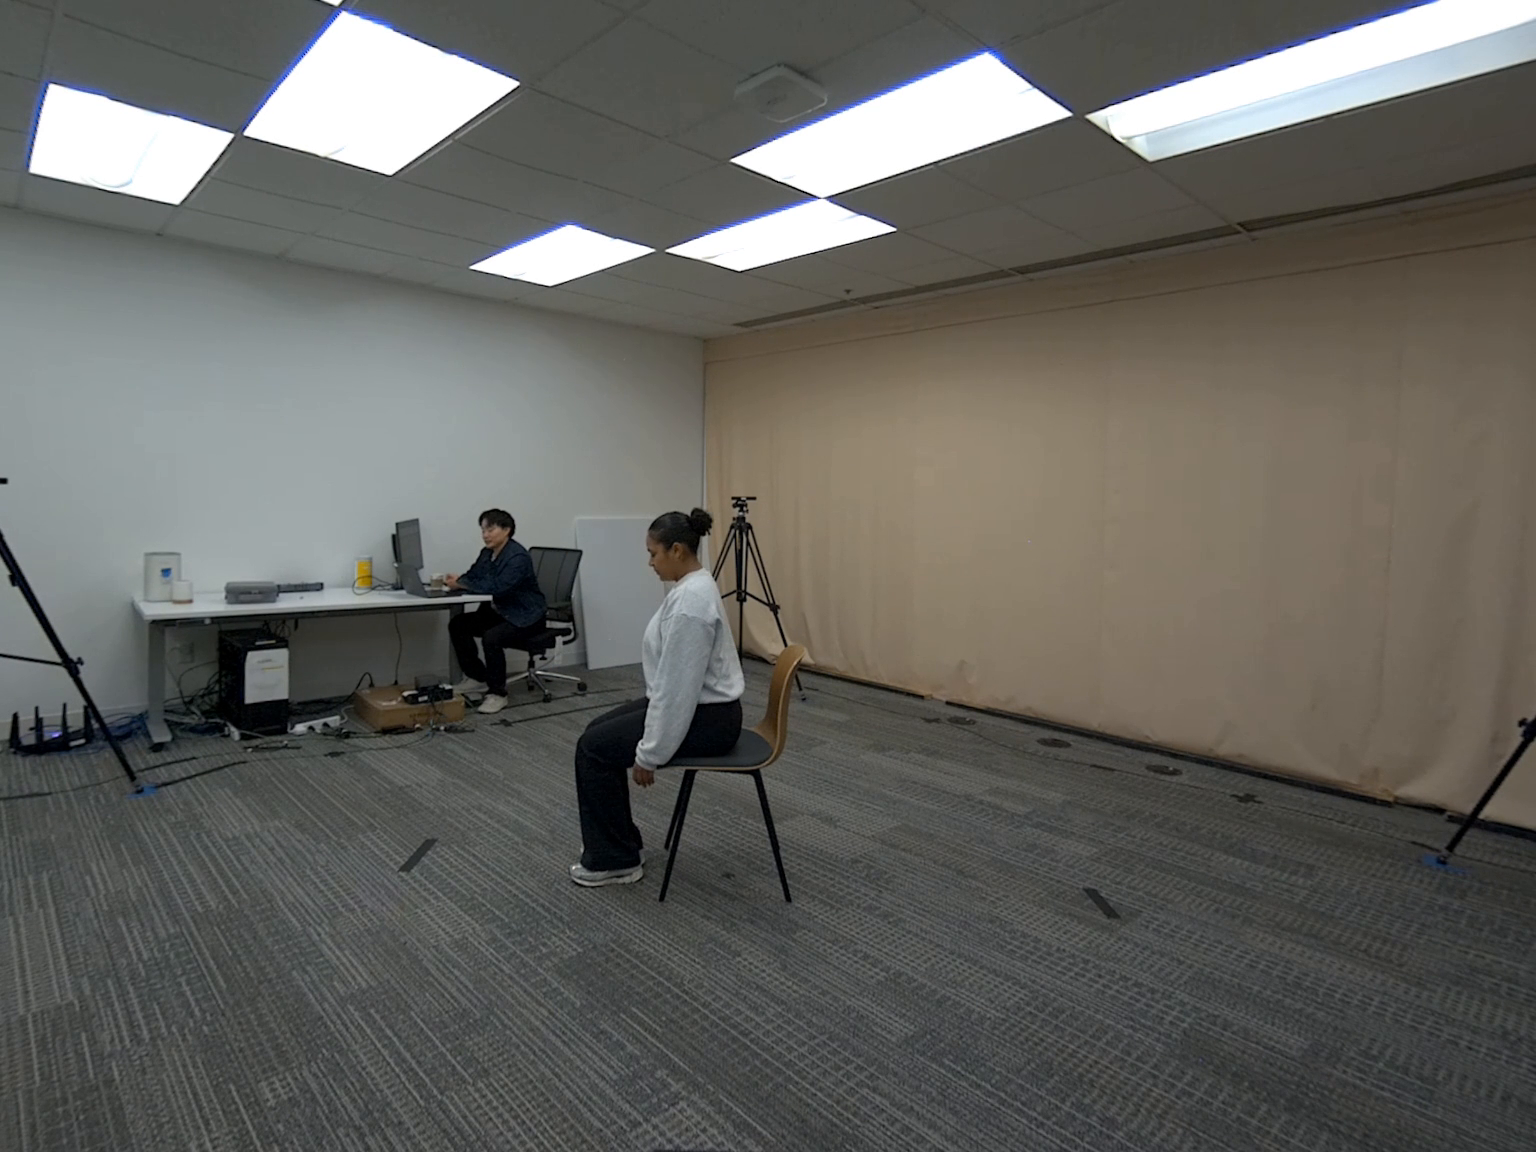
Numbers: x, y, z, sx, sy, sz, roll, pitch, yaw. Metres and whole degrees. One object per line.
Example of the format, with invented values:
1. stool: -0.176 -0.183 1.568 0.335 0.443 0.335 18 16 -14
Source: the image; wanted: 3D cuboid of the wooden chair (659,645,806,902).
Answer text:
1. wooden chair: -0.167 0.680 3.090 0.521 0.875 0.481 5 3 -4
